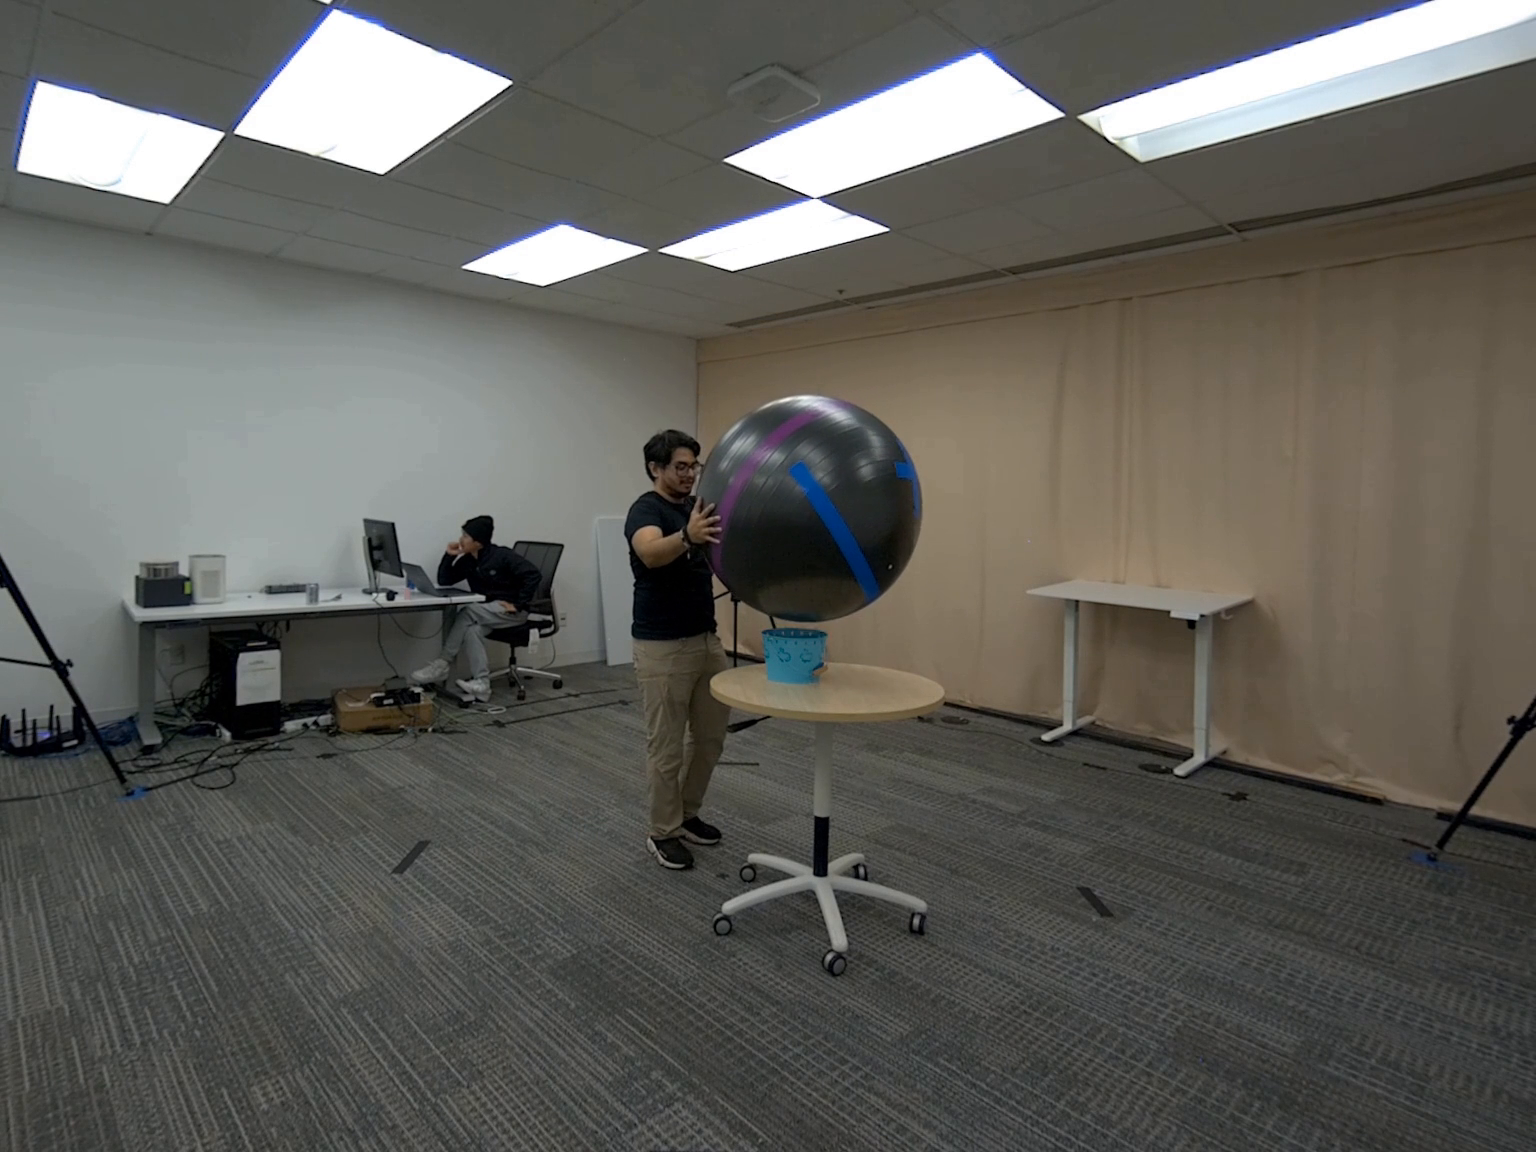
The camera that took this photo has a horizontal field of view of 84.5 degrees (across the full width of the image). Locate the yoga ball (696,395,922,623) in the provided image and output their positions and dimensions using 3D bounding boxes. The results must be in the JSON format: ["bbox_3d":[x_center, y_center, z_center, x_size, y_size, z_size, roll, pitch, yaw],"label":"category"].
[{"bbox_3d":[0.128,-0.220,2.833,0.757,0.756,0.761,1,4,-1],"label":"yoga ball"}]
